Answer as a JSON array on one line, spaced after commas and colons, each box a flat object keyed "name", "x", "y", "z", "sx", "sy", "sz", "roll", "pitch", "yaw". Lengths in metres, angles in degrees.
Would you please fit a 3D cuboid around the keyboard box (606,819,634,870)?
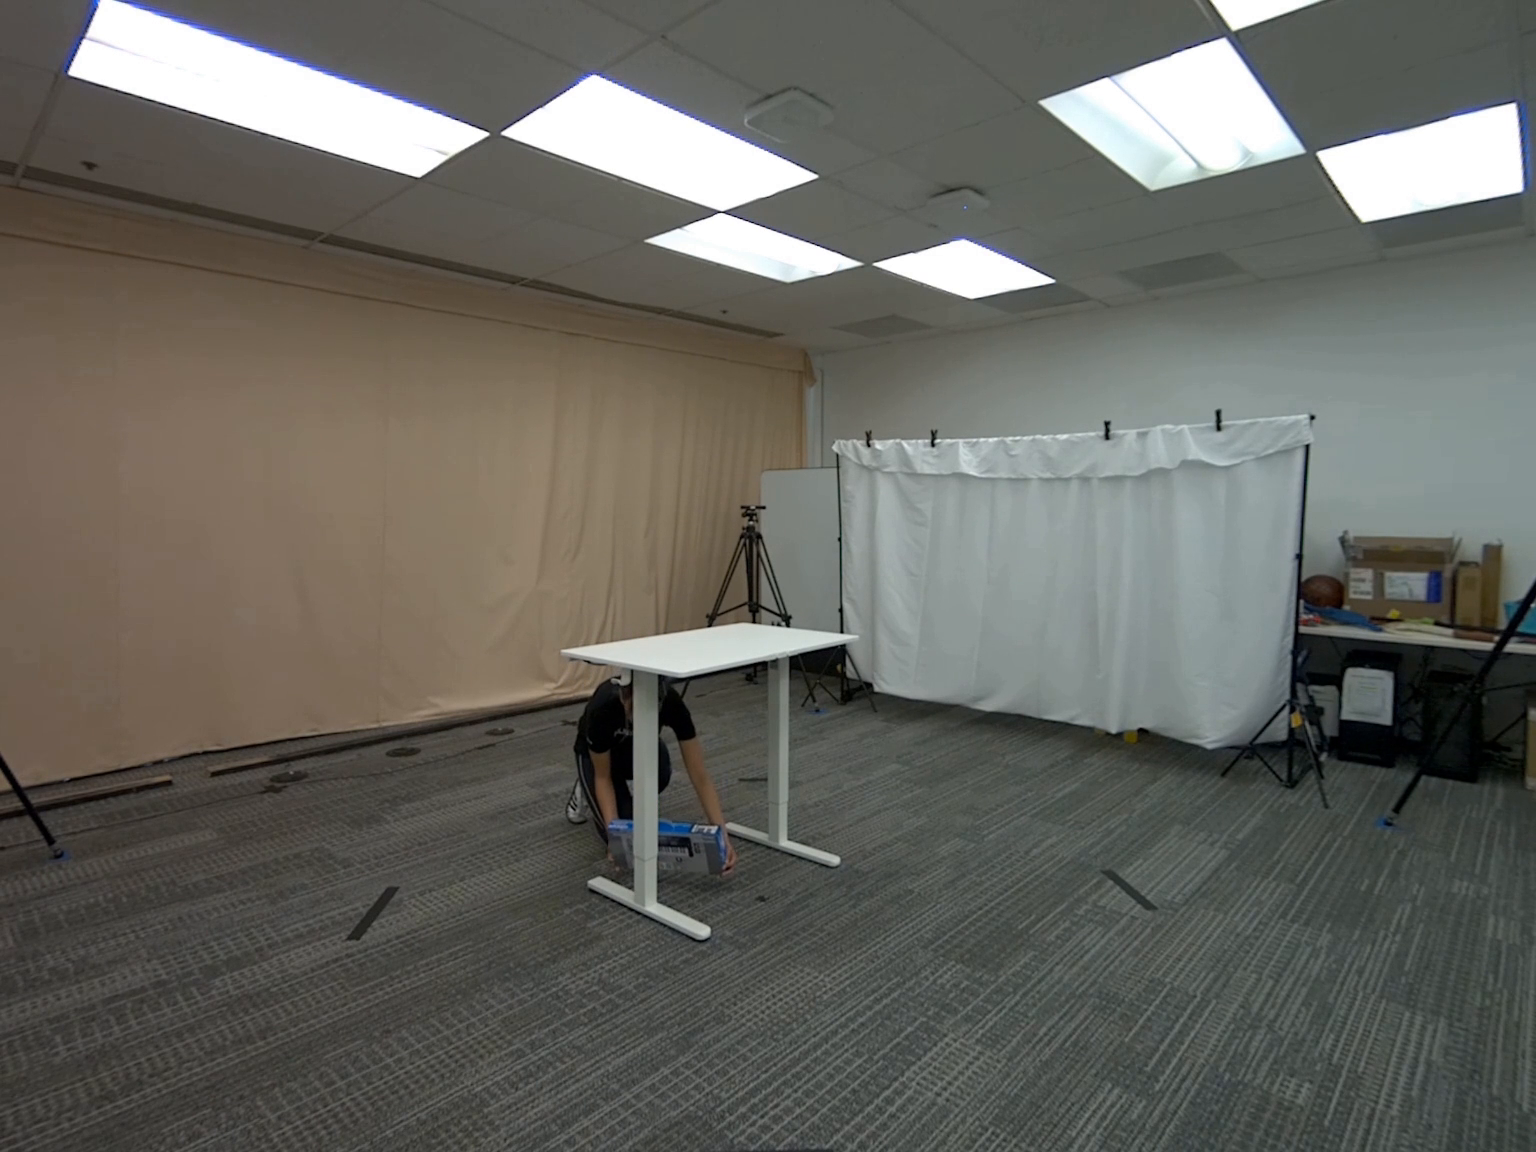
[{"name": "keyboard box", "x": -0.367, "y": 0.987, "z": 3.066, "sx": 0.445, "sy": 0.174, "sz": 0.058, "roll": -2, "pitch": 15, "yaw": 20}]
